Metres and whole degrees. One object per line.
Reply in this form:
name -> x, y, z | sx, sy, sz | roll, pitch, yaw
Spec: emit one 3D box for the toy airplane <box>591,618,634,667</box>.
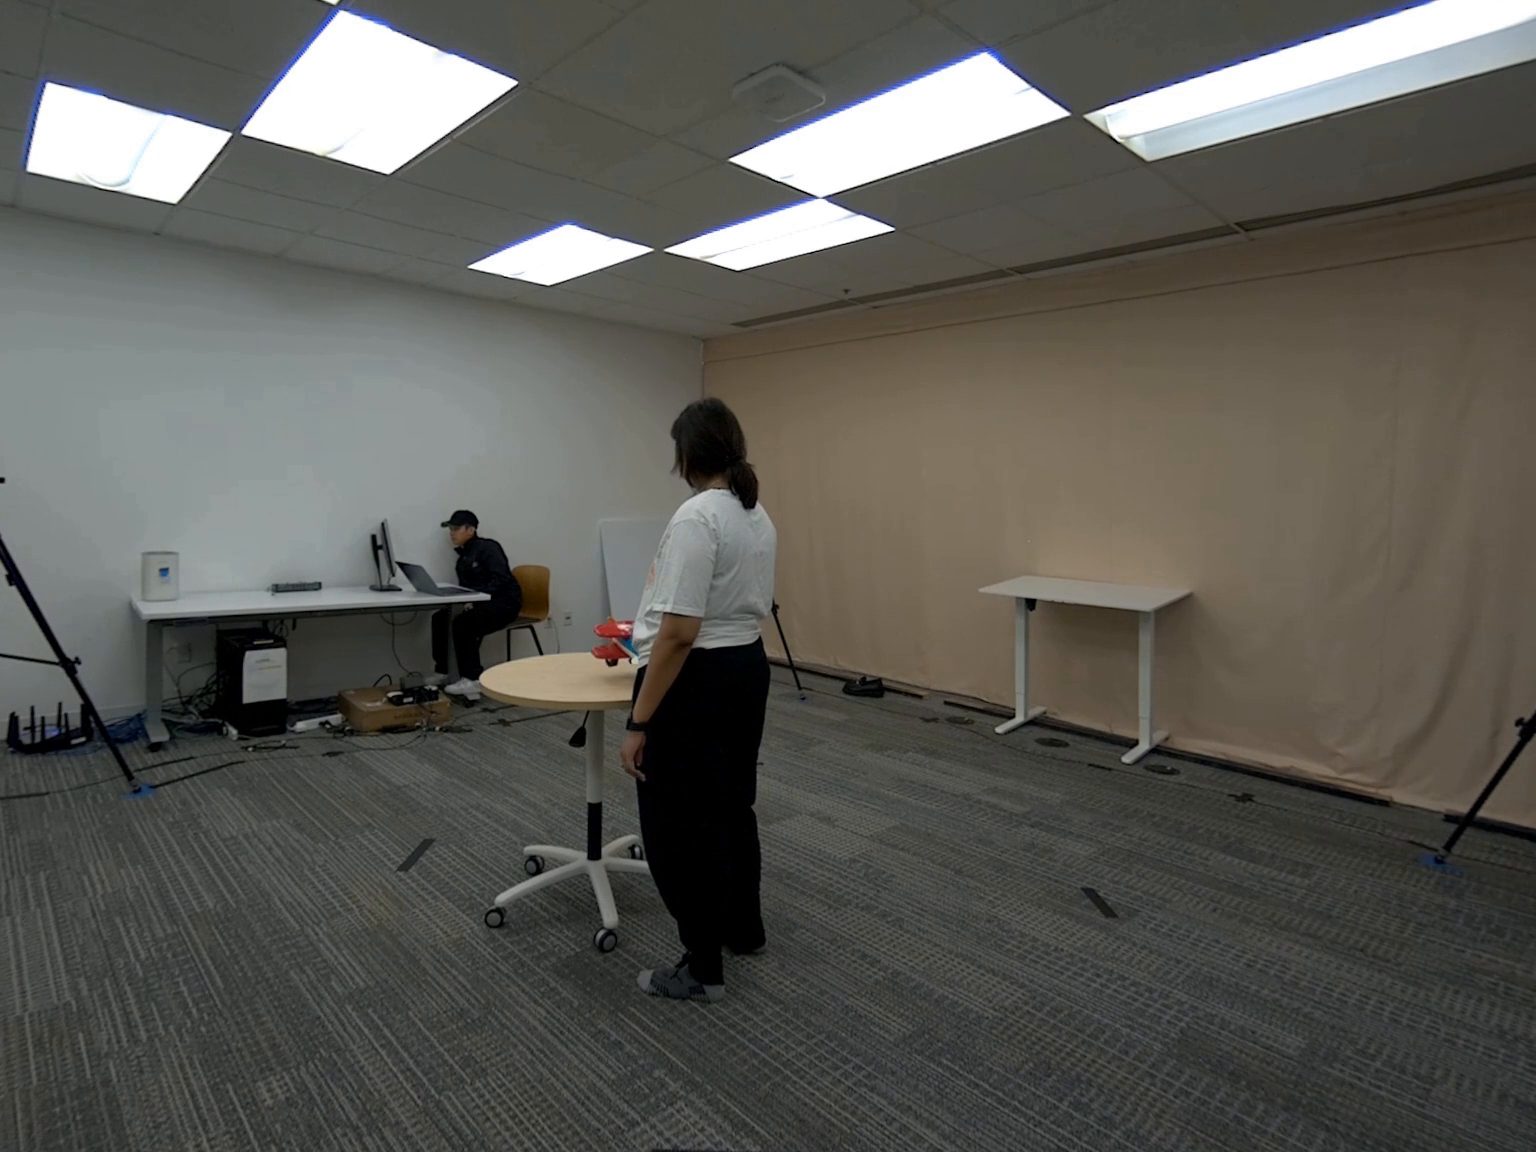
toy airplane -> -0.437, 0.236, 2.781 | 0.265, 0.156, 0.247 | 6, 8, 28
